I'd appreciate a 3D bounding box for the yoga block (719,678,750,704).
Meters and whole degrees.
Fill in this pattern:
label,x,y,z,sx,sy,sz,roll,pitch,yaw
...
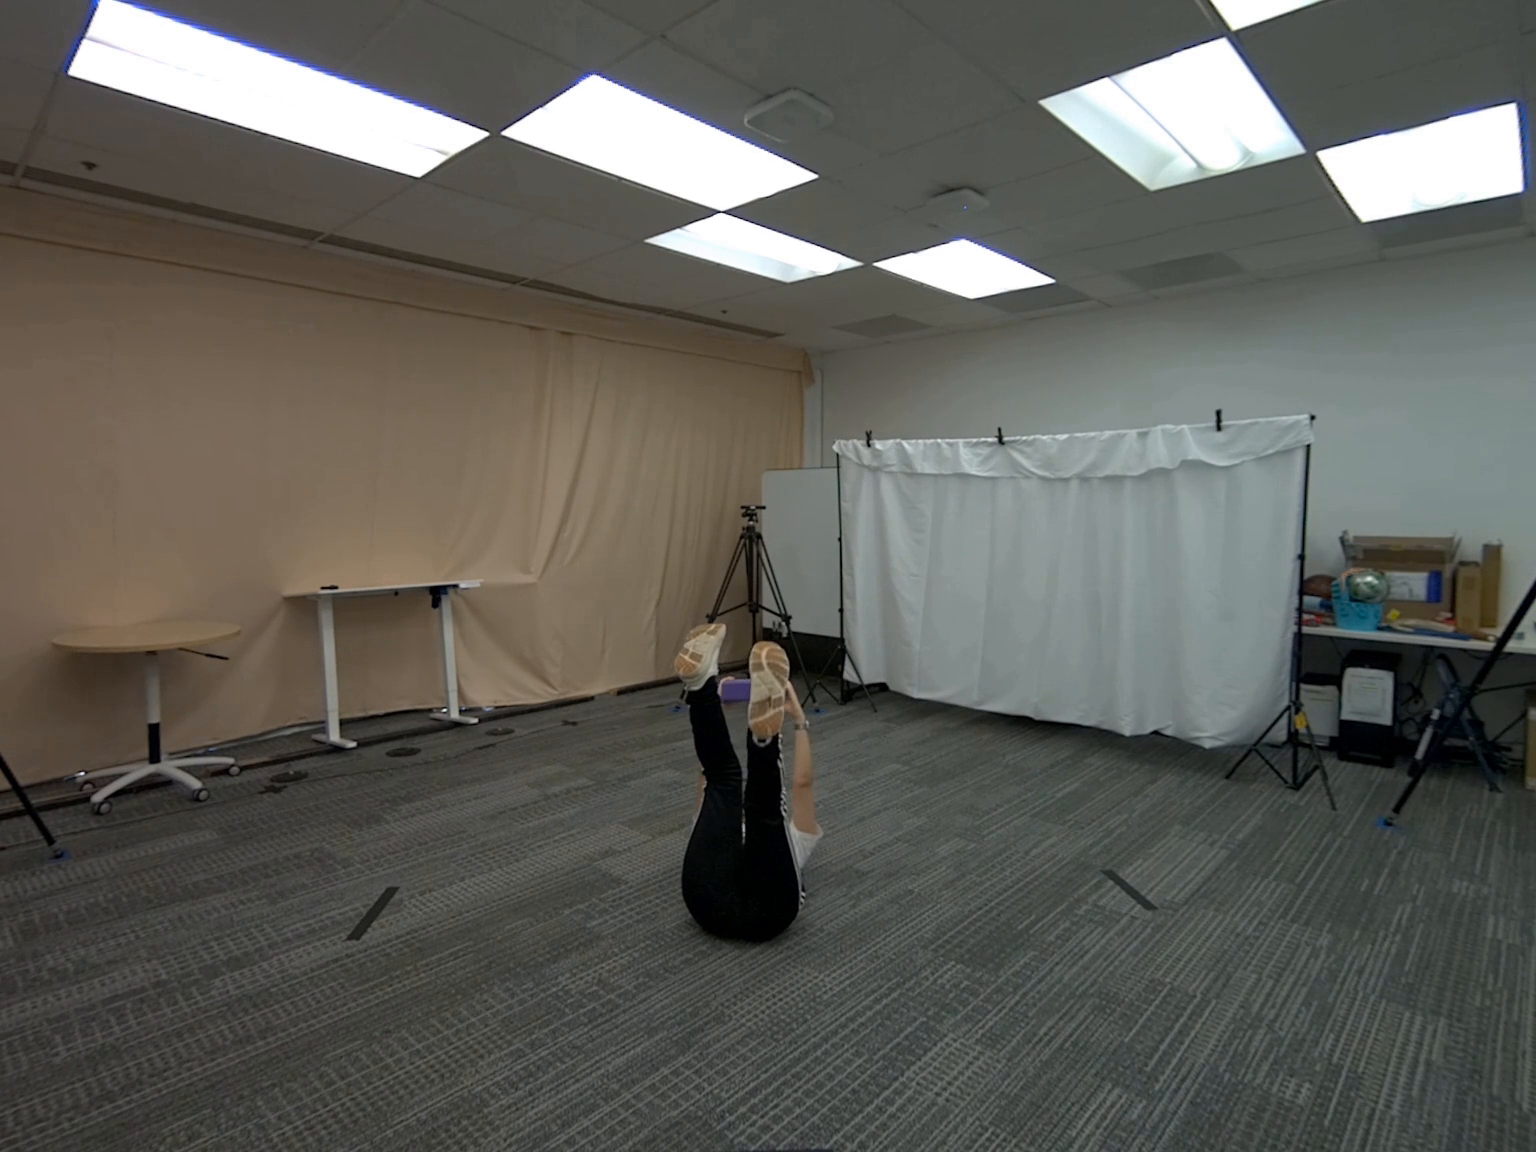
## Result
label,x,y,z,sx,sy,sz,roll,pitch,yaw
yoga block,-0.056,0.447,3.290,0.232,0.076,0.147,-2,-3,10
